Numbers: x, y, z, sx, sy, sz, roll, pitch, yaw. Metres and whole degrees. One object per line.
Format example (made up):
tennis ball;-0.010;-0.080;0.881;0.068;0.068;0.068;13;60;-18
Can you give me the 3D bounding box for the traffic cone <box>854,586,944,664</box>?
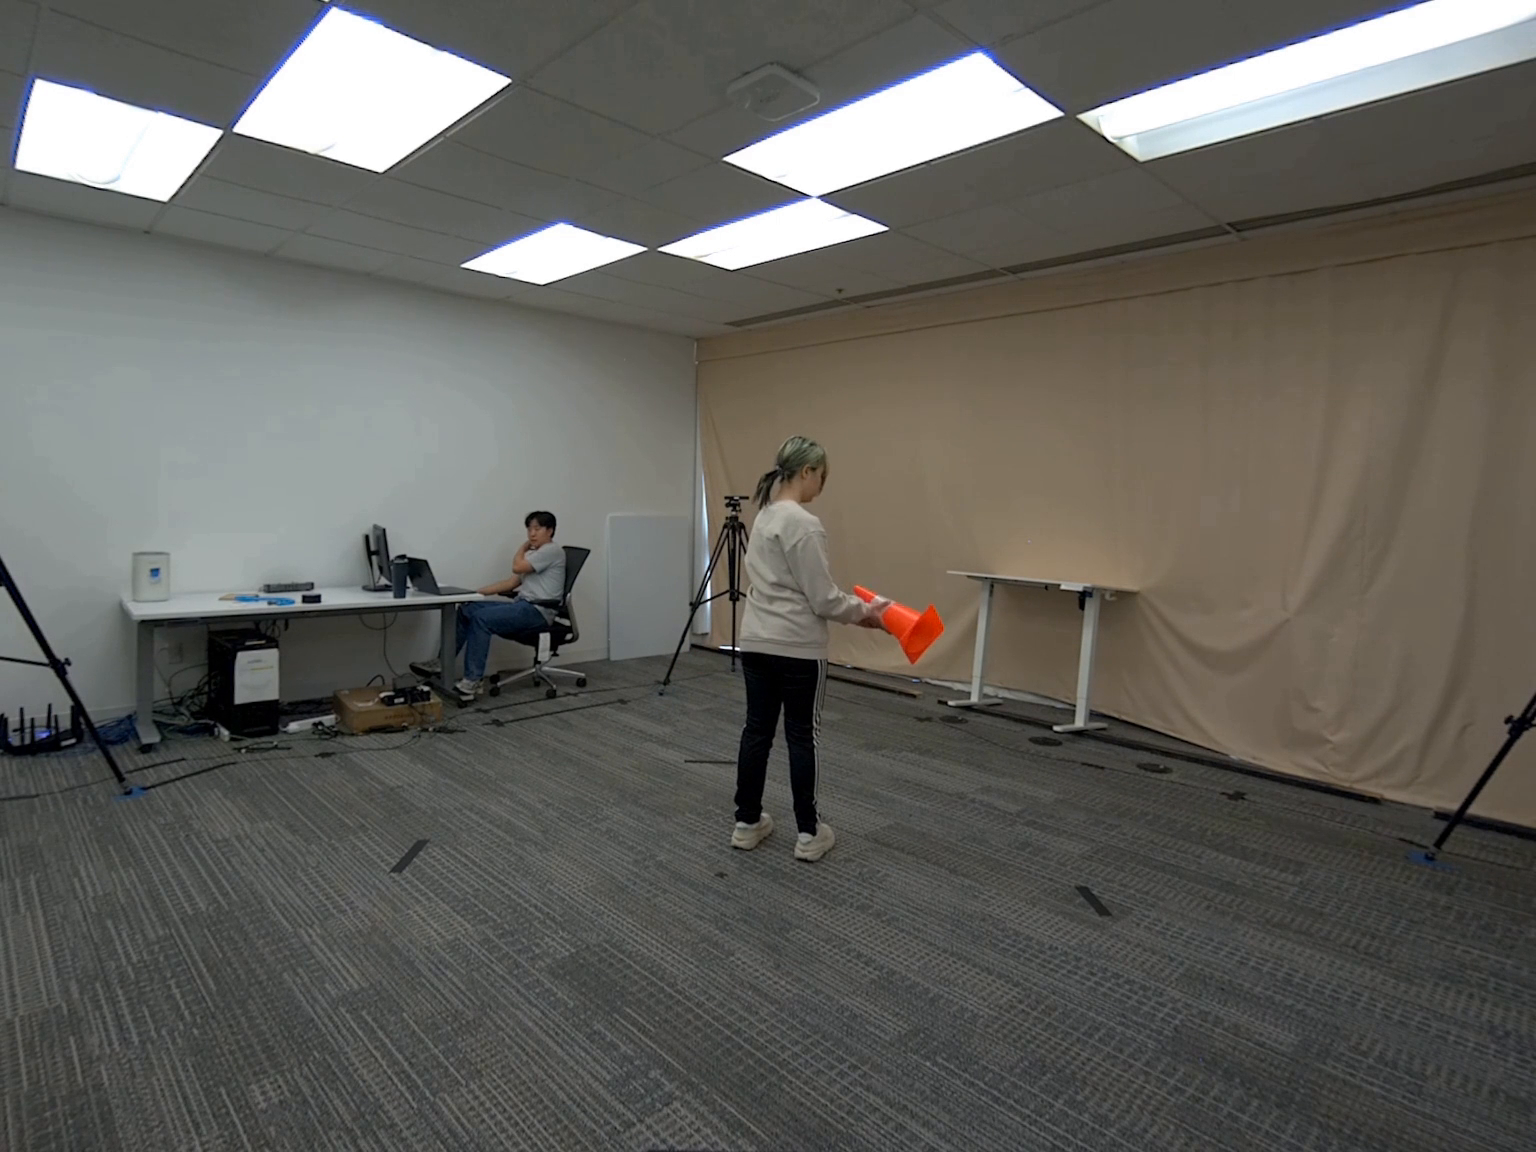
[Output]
traffic cone;0.473;0.145;3.368;0.396;0.203;0.198;36;-13;43
